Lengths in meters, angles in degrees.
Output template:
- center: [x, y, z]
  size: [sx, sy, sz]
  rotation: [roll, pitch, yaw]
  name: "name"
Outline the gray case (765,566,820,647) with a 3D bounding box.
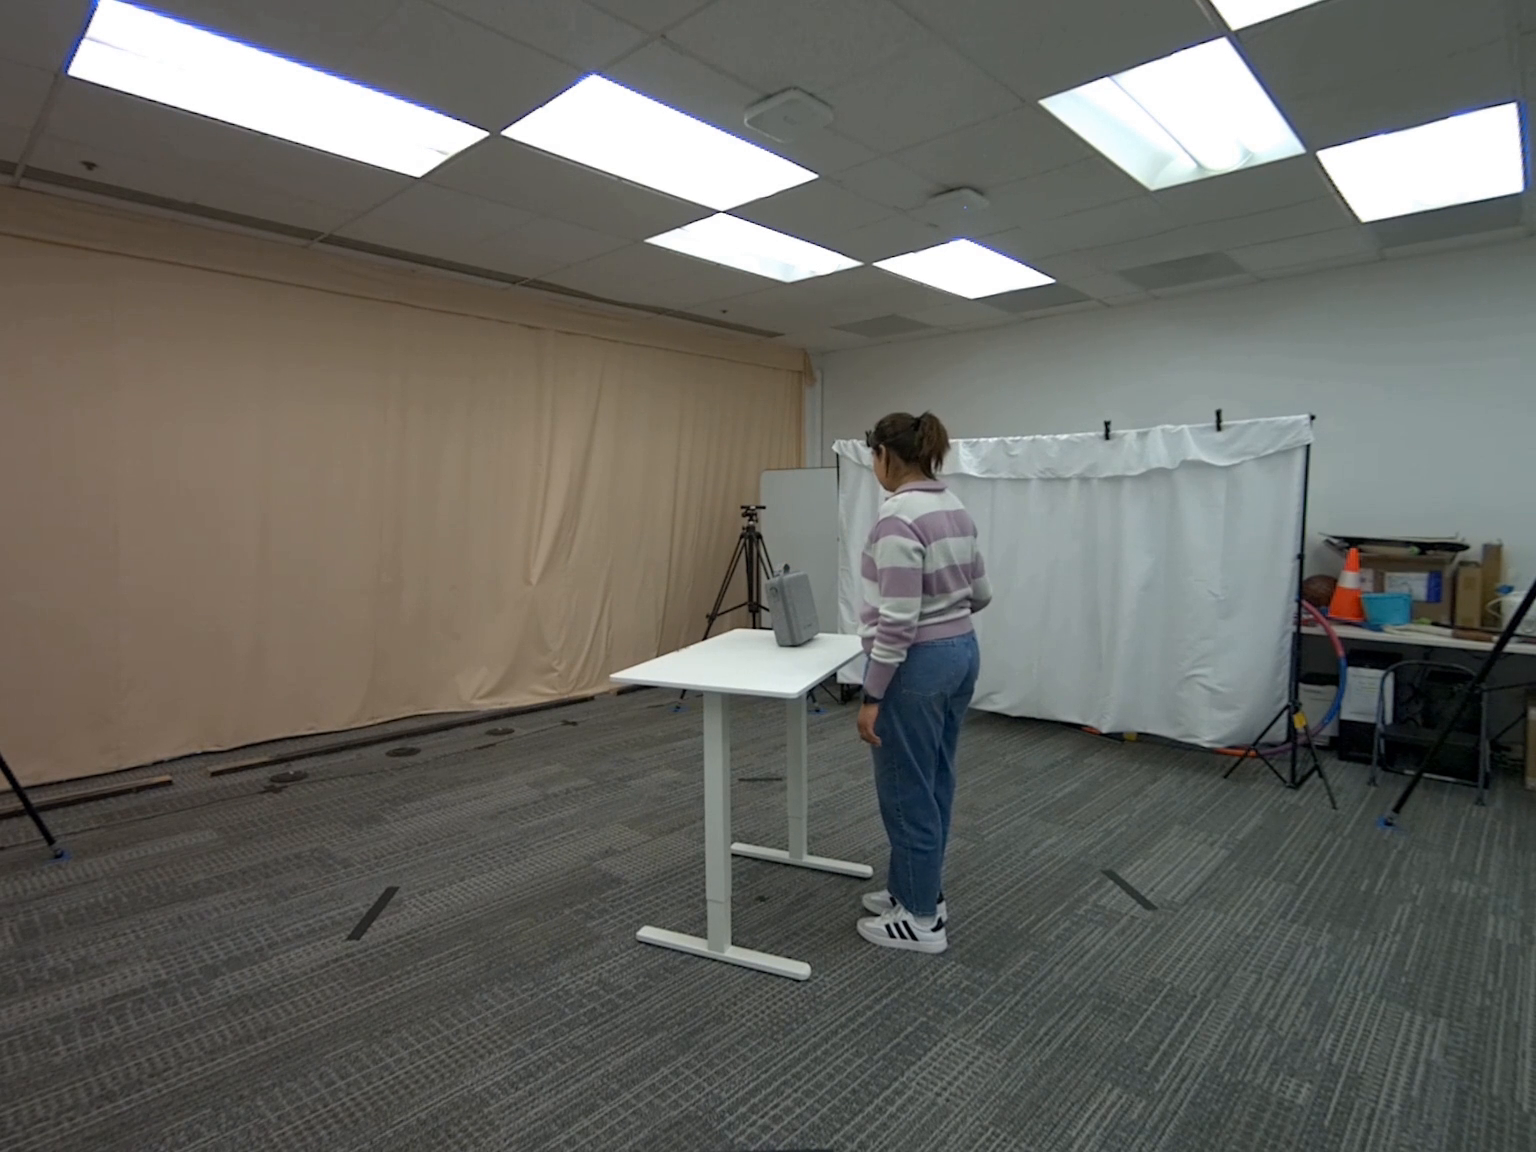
- center: [0.096, 0.118, 3.107]
  size: [0.106, 0.261, 0.252]
  rotation: [-12, -2, 20]
  name: "gray case"
